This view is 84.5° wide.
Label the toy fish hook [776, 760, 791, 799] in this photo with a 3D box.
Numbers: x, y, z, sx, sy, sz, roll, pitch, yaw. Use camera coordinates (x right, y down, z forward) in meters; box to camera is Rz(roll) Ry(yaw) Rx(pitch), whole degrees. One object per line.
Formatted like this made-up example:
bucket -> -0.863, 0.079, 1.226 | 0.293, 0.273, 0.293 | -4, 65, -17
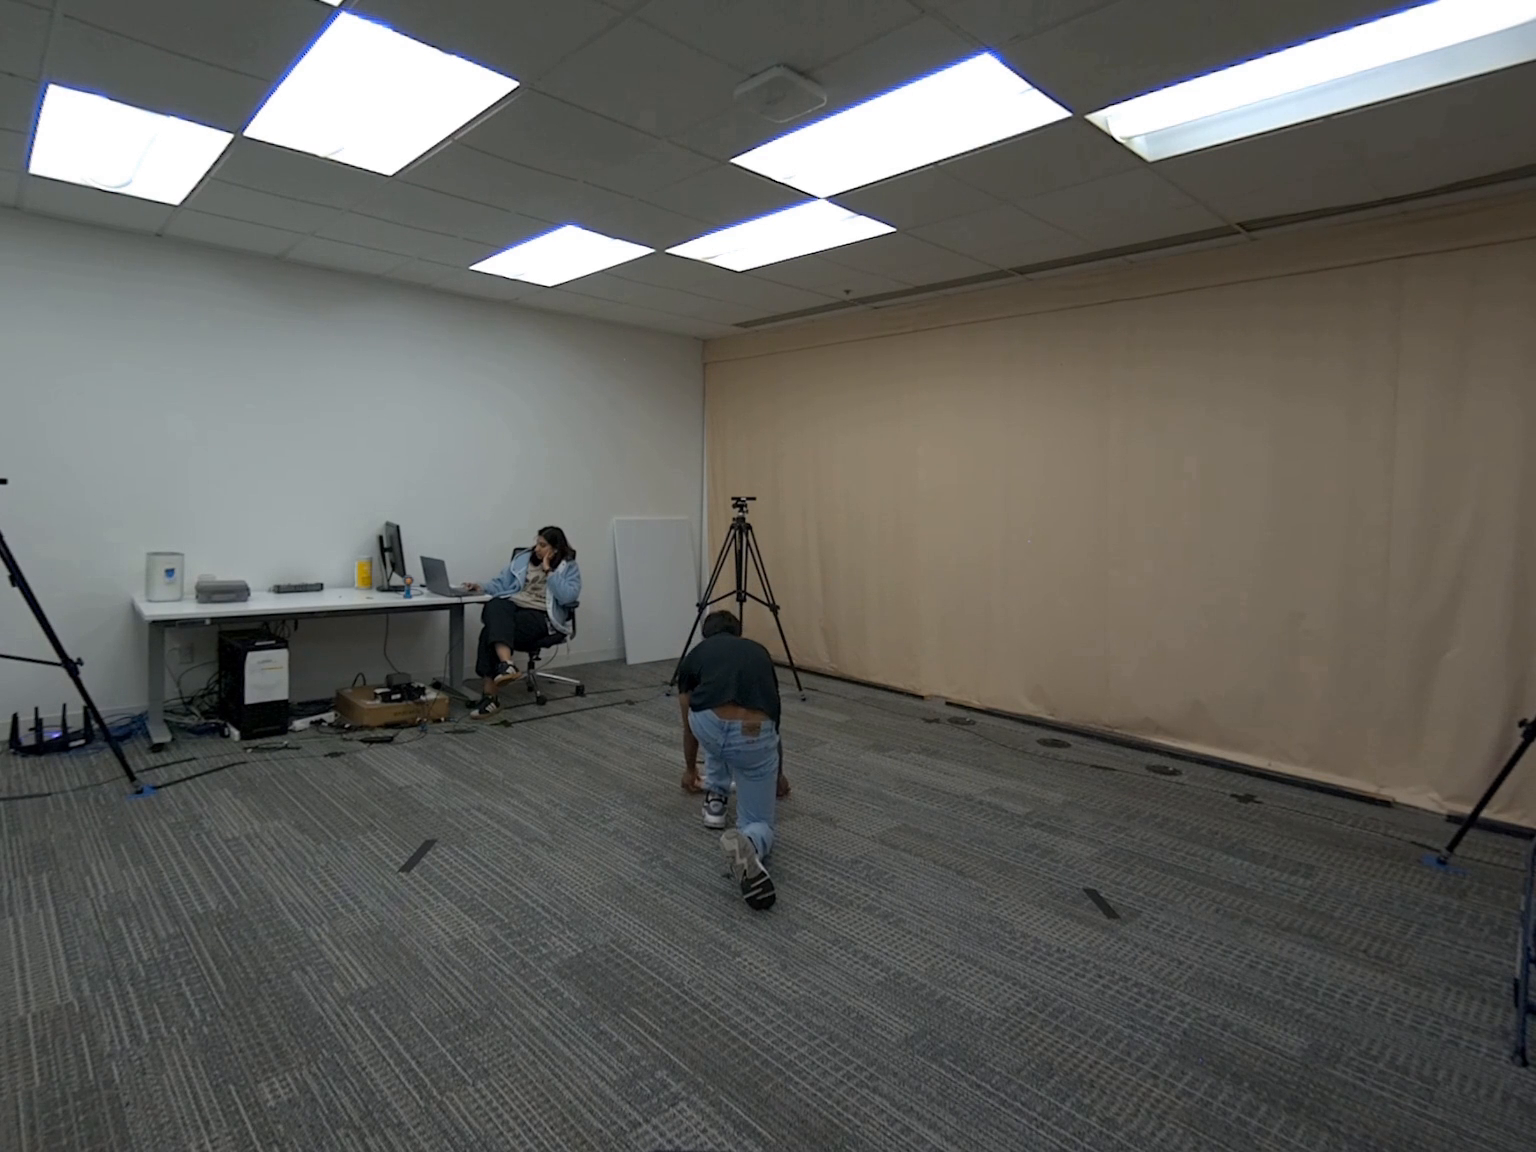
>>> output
toy fish hook -> -0.144, 0.988, 4.060 | 0.508, 0.048, 0.224 | 2, 0, 3
